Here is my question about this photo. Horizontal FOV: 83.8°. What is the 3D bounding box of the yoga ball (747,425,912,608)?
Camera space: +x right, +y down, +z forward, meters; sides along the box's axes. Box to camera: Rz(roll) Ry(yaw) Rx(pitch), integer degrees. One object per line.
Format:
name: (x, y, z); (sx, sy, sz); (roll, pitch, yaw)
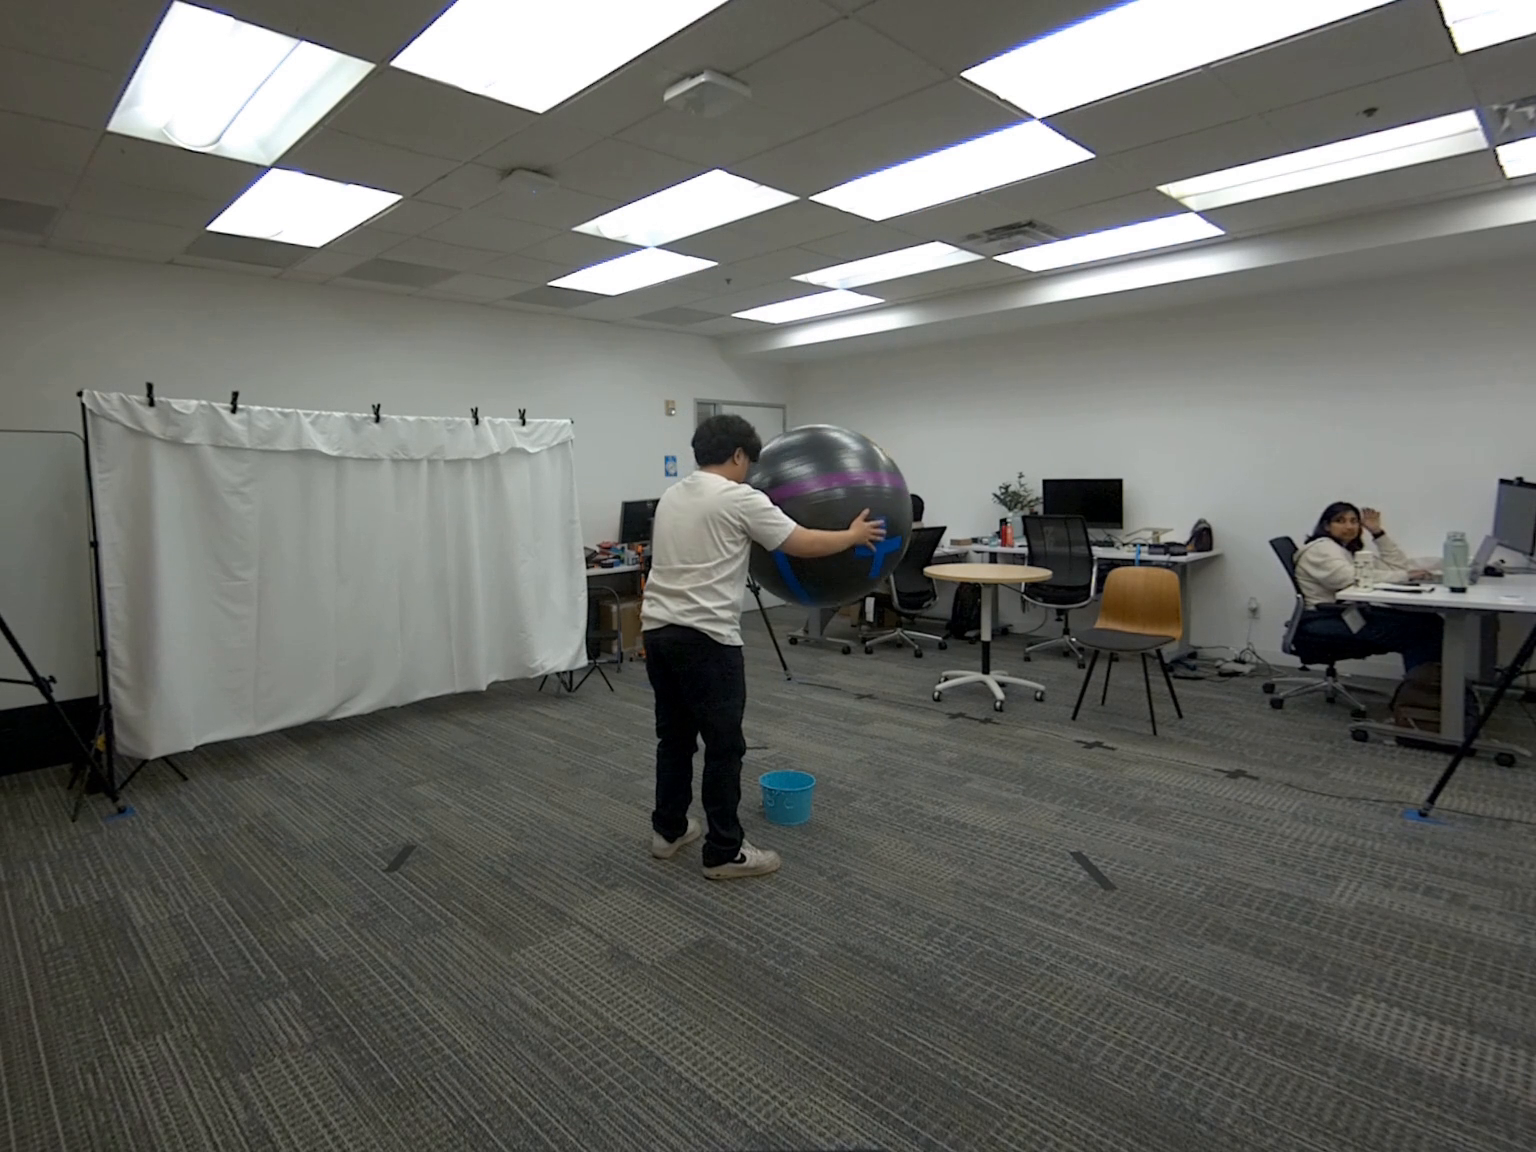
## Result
yoga ball: (0.224, -0.252, 3.591); (0.757, 0.755, 0.762); (-1, 5, -2)
